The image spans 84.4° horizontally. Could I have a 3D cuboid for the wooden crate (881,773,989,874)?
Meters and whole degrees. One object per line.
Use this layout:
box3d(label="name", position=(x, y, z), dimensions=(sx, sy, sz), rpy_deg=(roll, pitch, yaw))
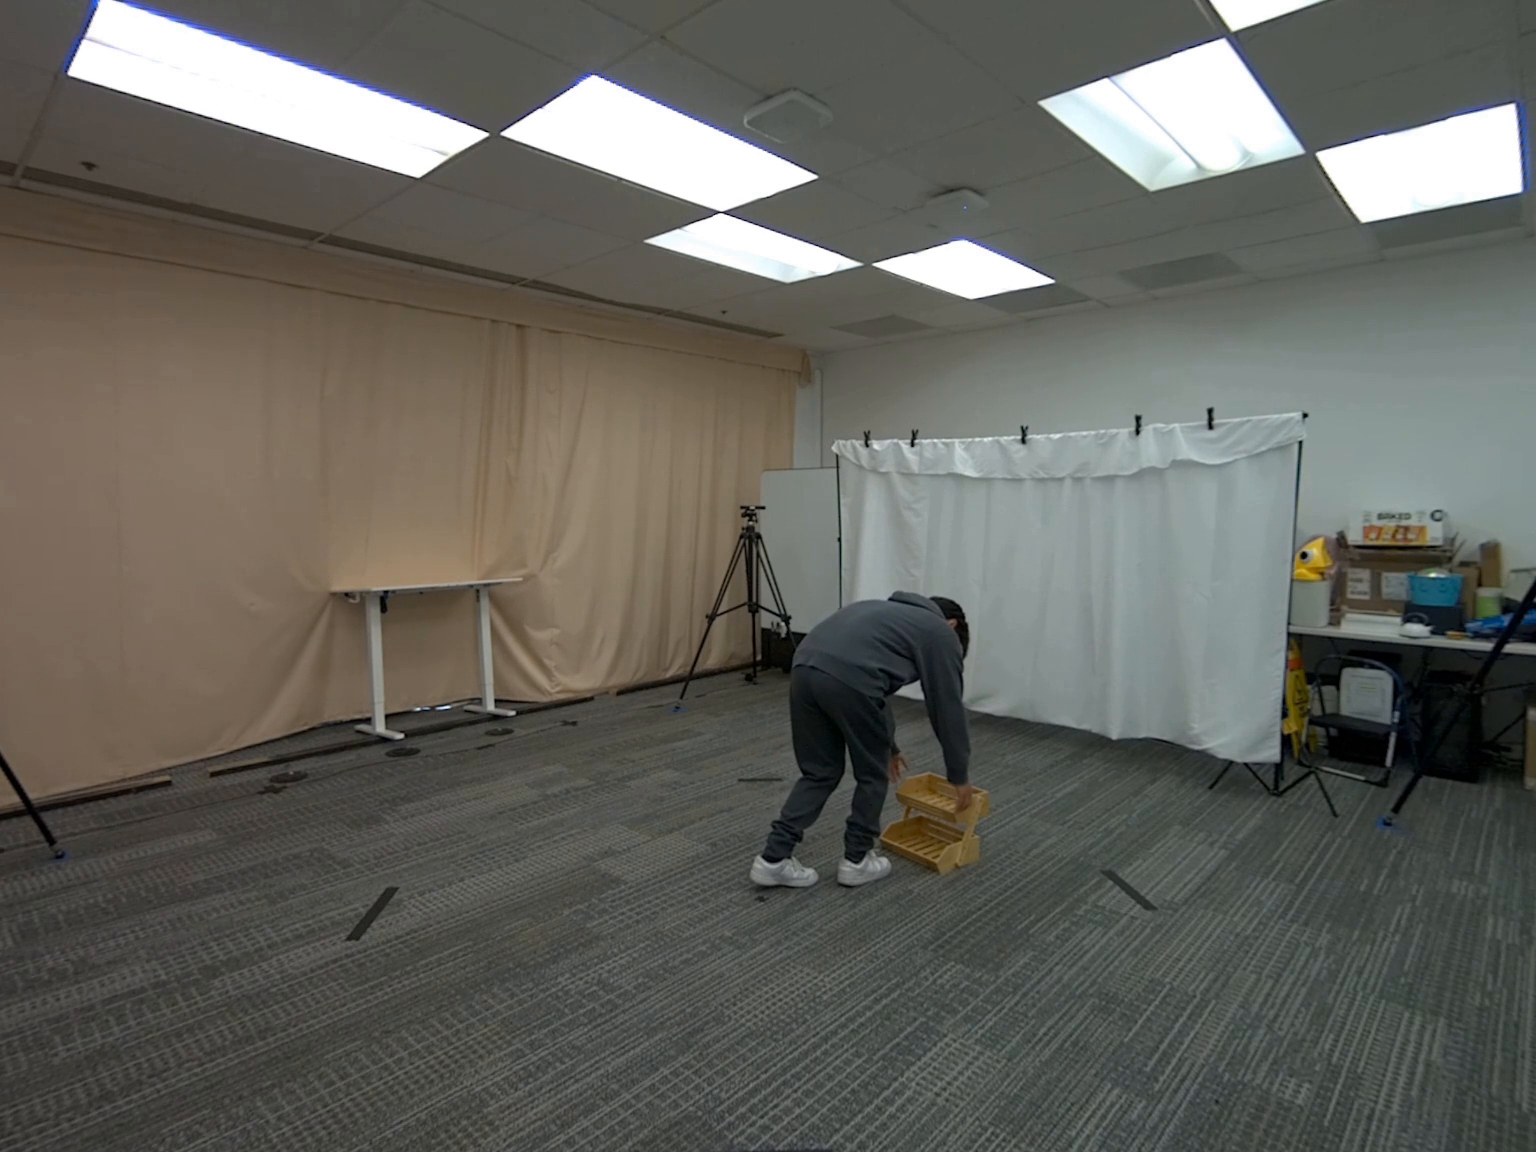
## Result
box3d(label="wooden crate", position=(0.667, 0.974, 3.379), dimensions=(0.293, 0.273, 0.335), rpy_deg=(-2, 4, -37))
